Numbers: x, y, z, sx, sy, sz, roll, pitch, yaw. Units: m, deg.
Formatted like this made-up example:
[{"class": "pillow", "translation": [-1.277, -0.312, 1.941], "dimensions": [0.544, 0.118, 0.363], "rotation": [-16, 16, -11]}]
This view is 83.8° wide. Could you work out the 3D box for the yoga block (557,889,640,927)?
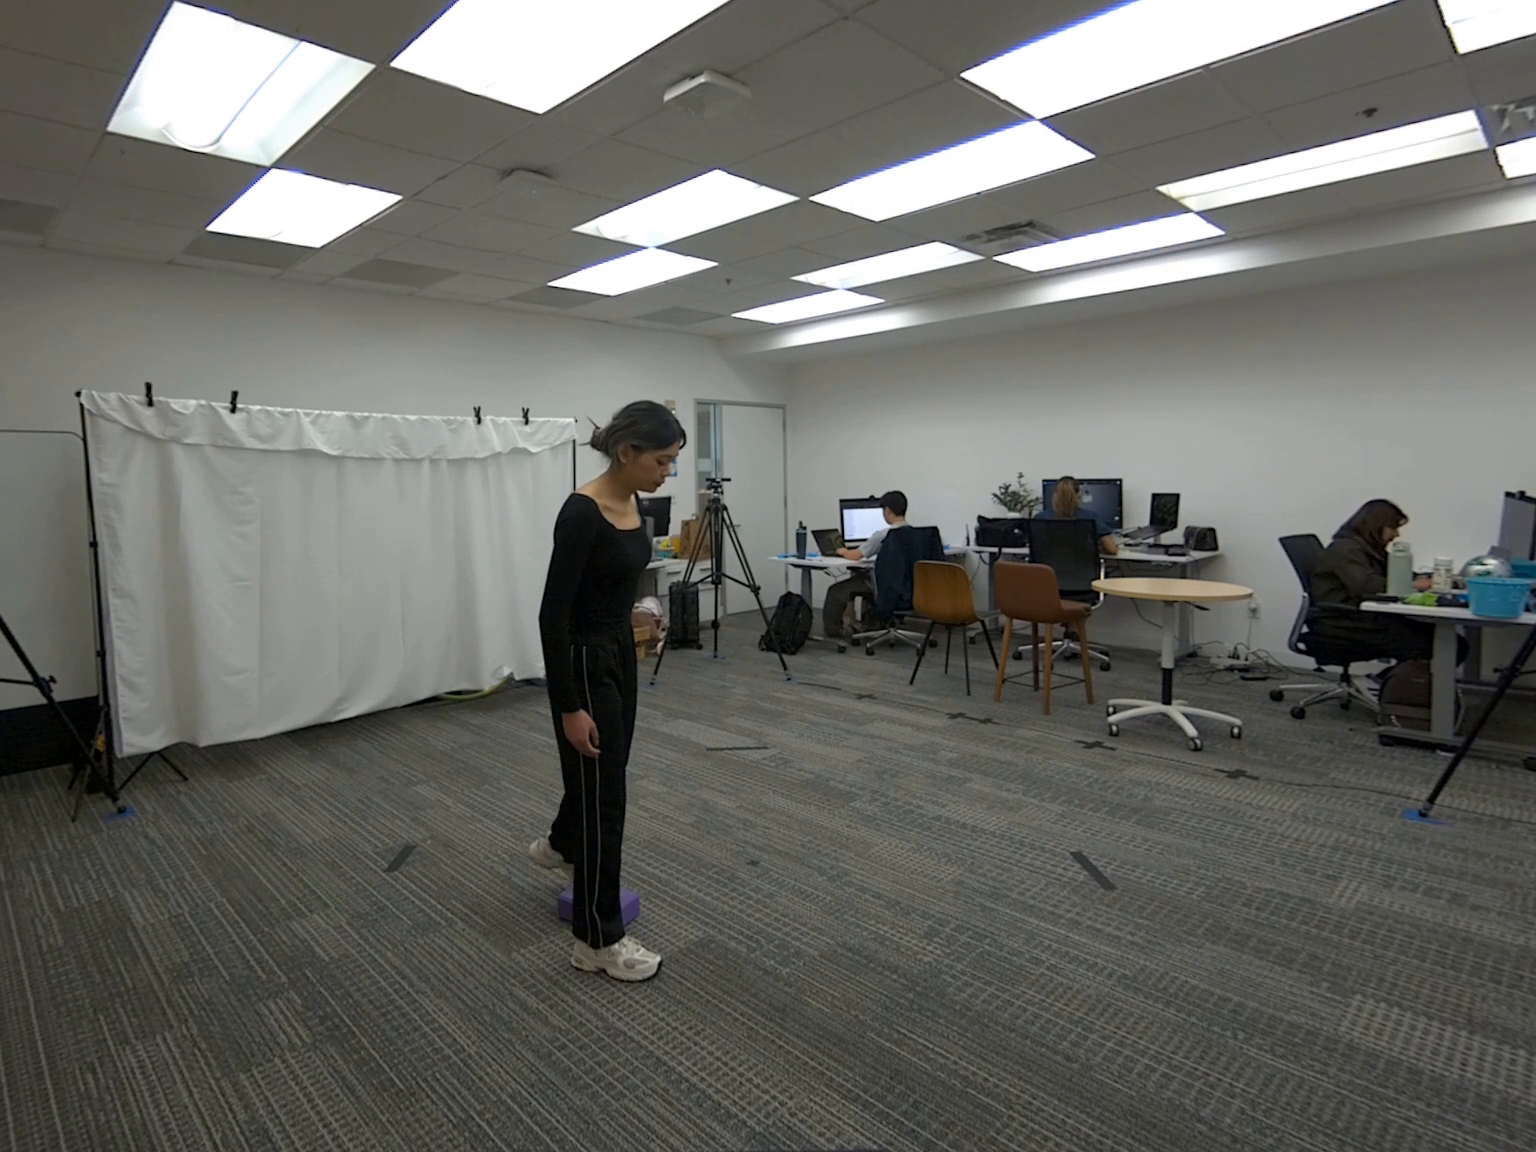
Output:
[{"class": "yoga block", "translation": [-0.538, 1.055, 2.738], "dimensions": [0.235, 0.076, 0.146], "rotation": [3, 6, 29]}]
